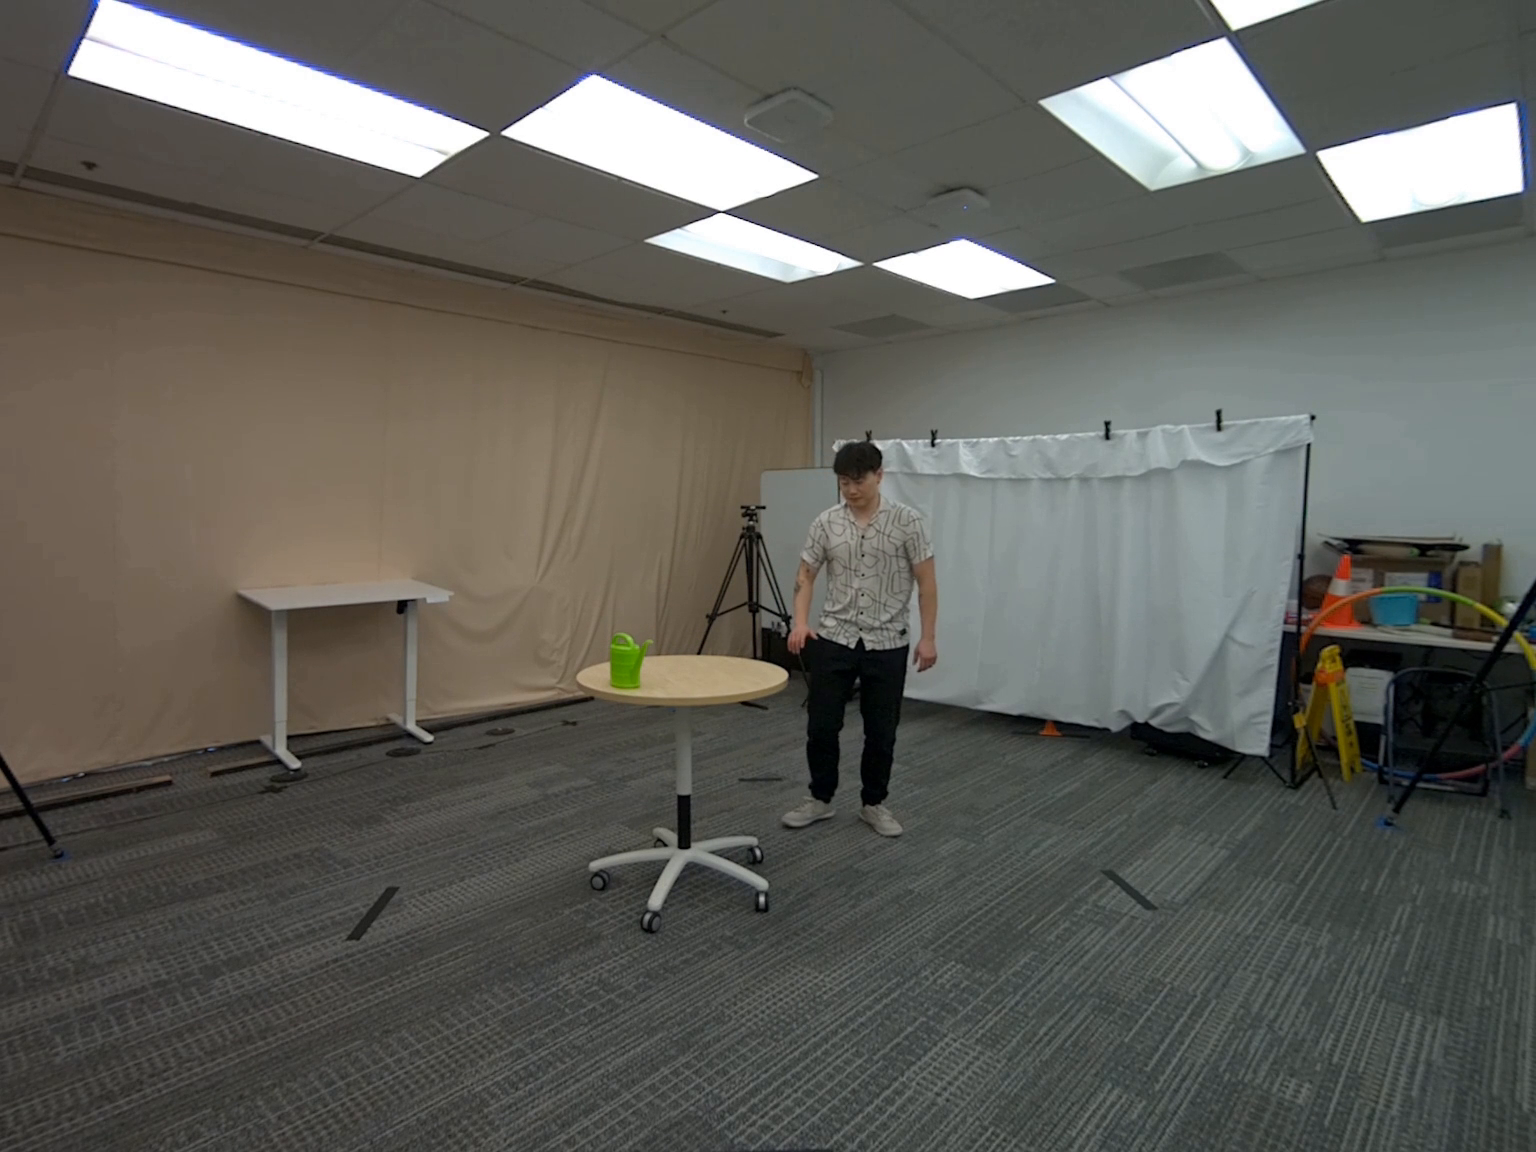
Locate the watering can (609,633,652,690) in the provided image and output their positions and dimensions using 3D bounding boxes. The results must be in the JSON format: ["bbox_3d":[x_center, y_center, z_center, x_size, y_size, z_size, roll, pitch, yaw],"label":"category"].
[{"bbox_3d":[-0.462,0.286,2.814,0.096,0.177,0.284,2,0,-22],"label":"watering can"}]
